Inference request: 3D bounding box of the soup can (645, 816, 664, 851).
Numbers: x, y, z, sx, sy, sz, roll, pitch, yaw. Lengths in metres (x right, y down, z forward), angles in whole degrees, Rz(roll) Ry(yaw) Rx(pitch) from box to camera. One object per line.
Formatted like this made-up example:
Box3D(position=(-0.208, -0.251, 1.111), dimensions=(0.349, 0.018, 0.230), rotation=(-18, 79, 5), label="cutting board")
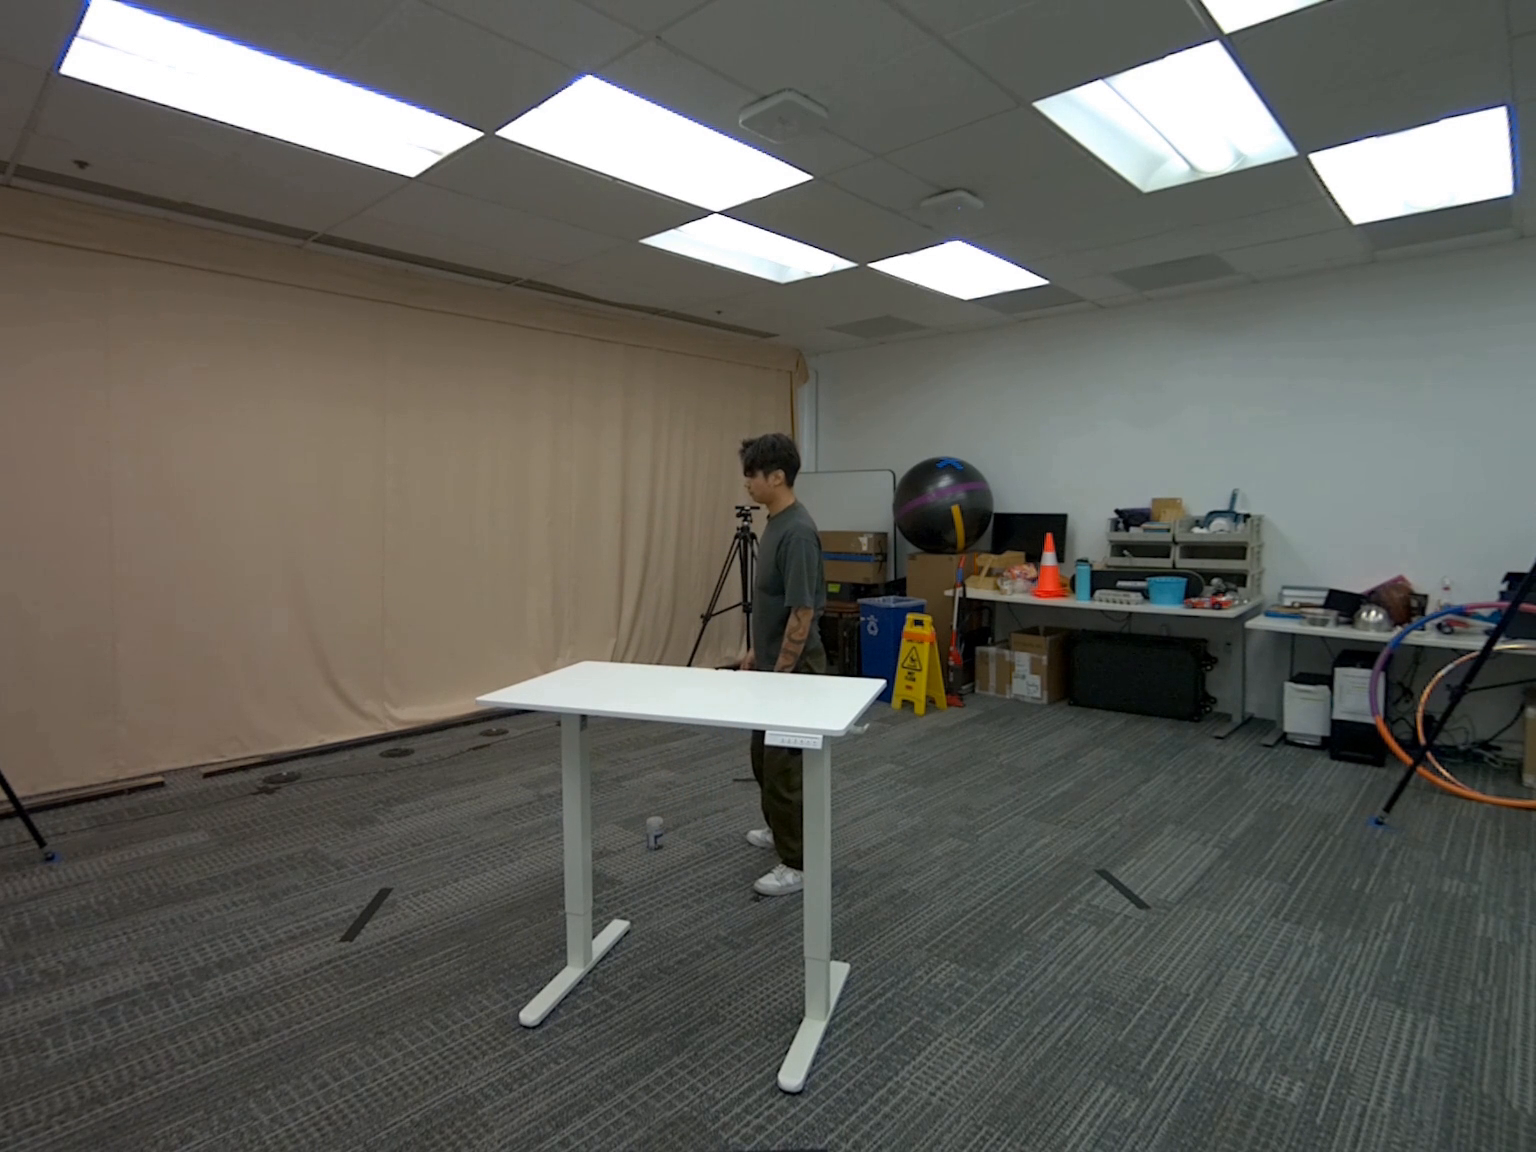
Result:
Box3D(position=(-0.457, 1.060, 3.443), dimensions=(0.067, 0.121, 0.067), rotation=(-5, 0, -2), label="soup can")
